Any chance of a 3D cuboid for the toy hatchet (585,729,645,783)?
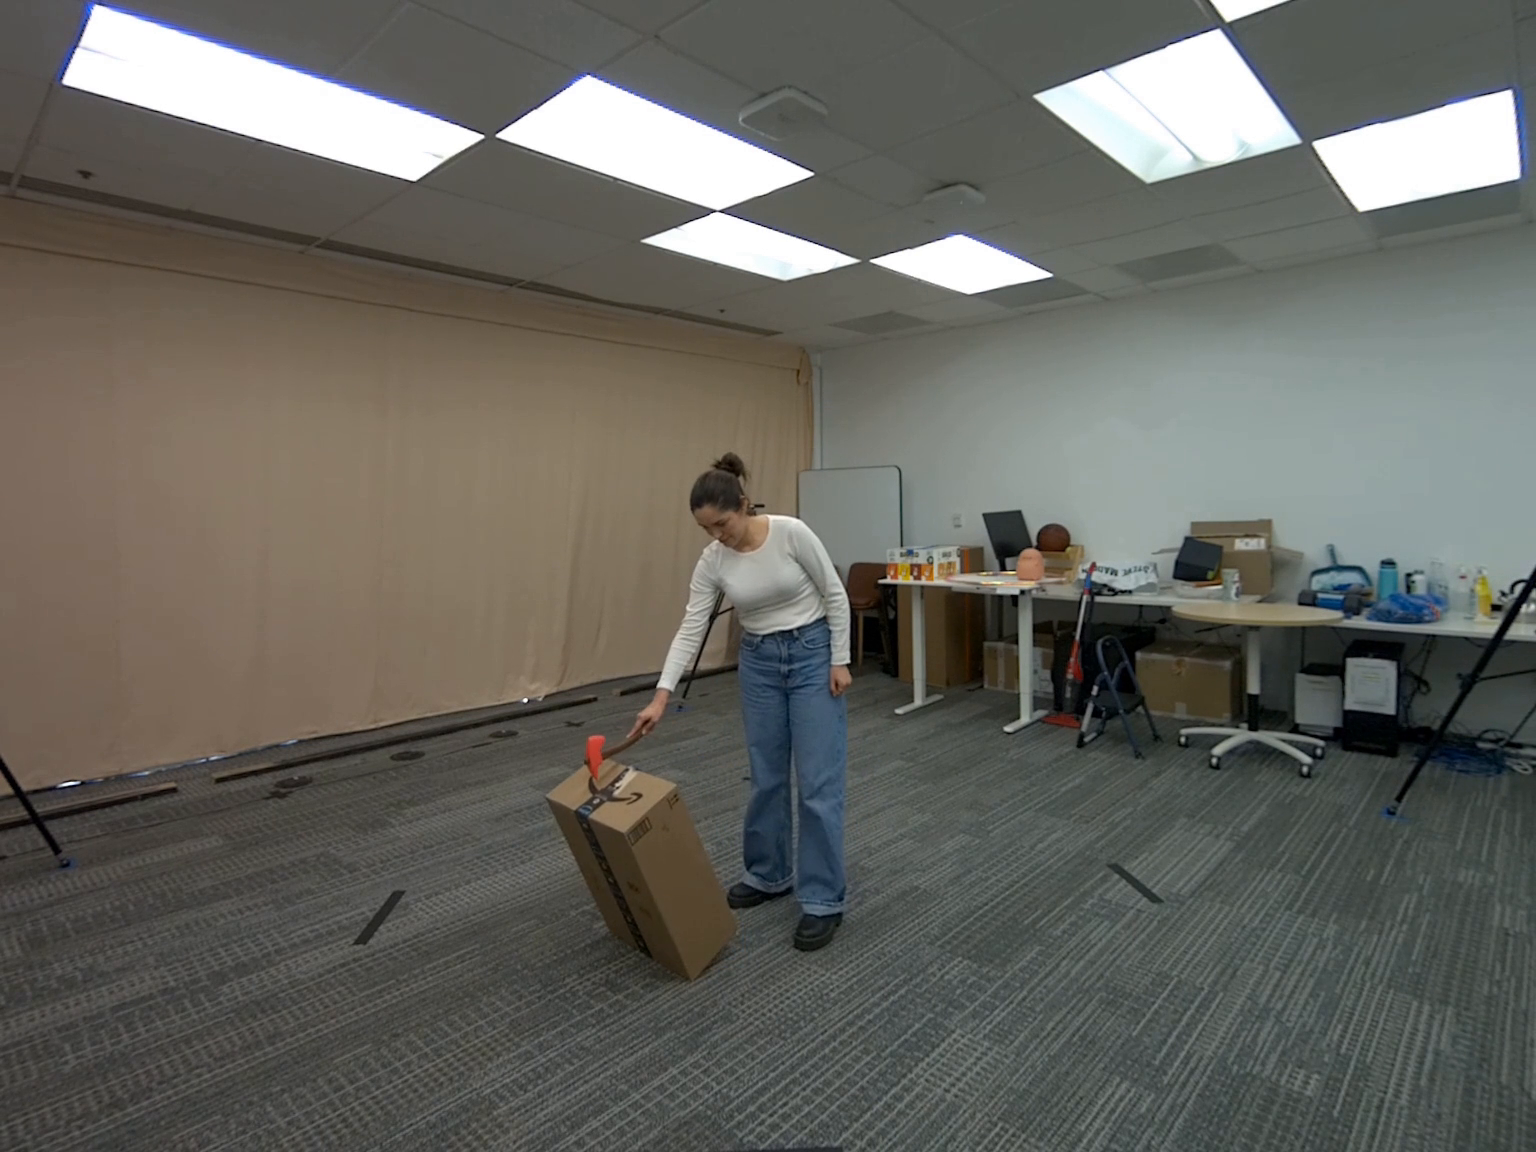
[{"bbox_3d":[-0.469,0.498,2.624,0.030,0.128,0.266,1,31,46],"label":"toy hatchet"}]
